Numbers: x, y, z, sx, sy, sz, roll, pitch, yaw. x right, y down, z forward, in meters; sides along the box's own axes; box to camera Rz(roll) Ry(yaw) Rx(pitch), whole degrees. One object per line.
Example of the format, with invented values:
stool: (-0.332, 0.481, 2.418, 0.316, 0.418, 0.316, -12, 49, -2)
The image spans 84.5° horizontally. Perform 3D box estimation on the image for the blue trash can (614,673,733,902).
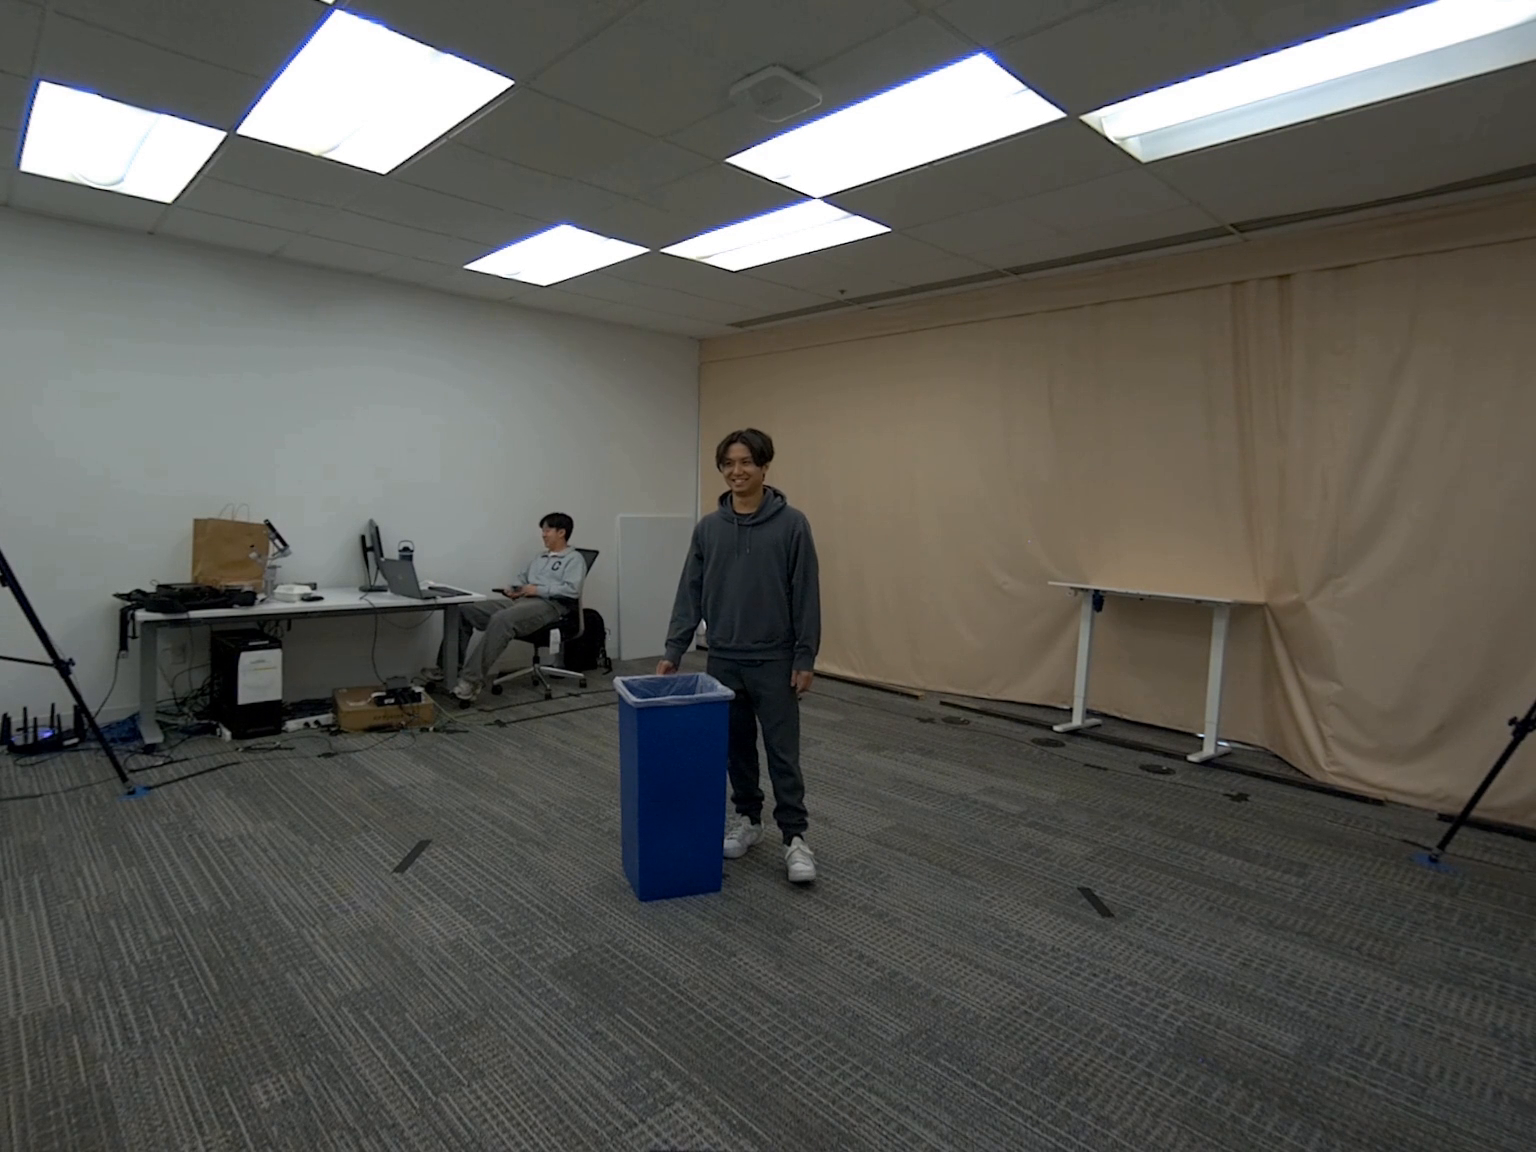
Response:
blue trash can: (-0.361, 0.750, 3.045, 0.368, 0.712, 0.385, 0, 3, -21)
